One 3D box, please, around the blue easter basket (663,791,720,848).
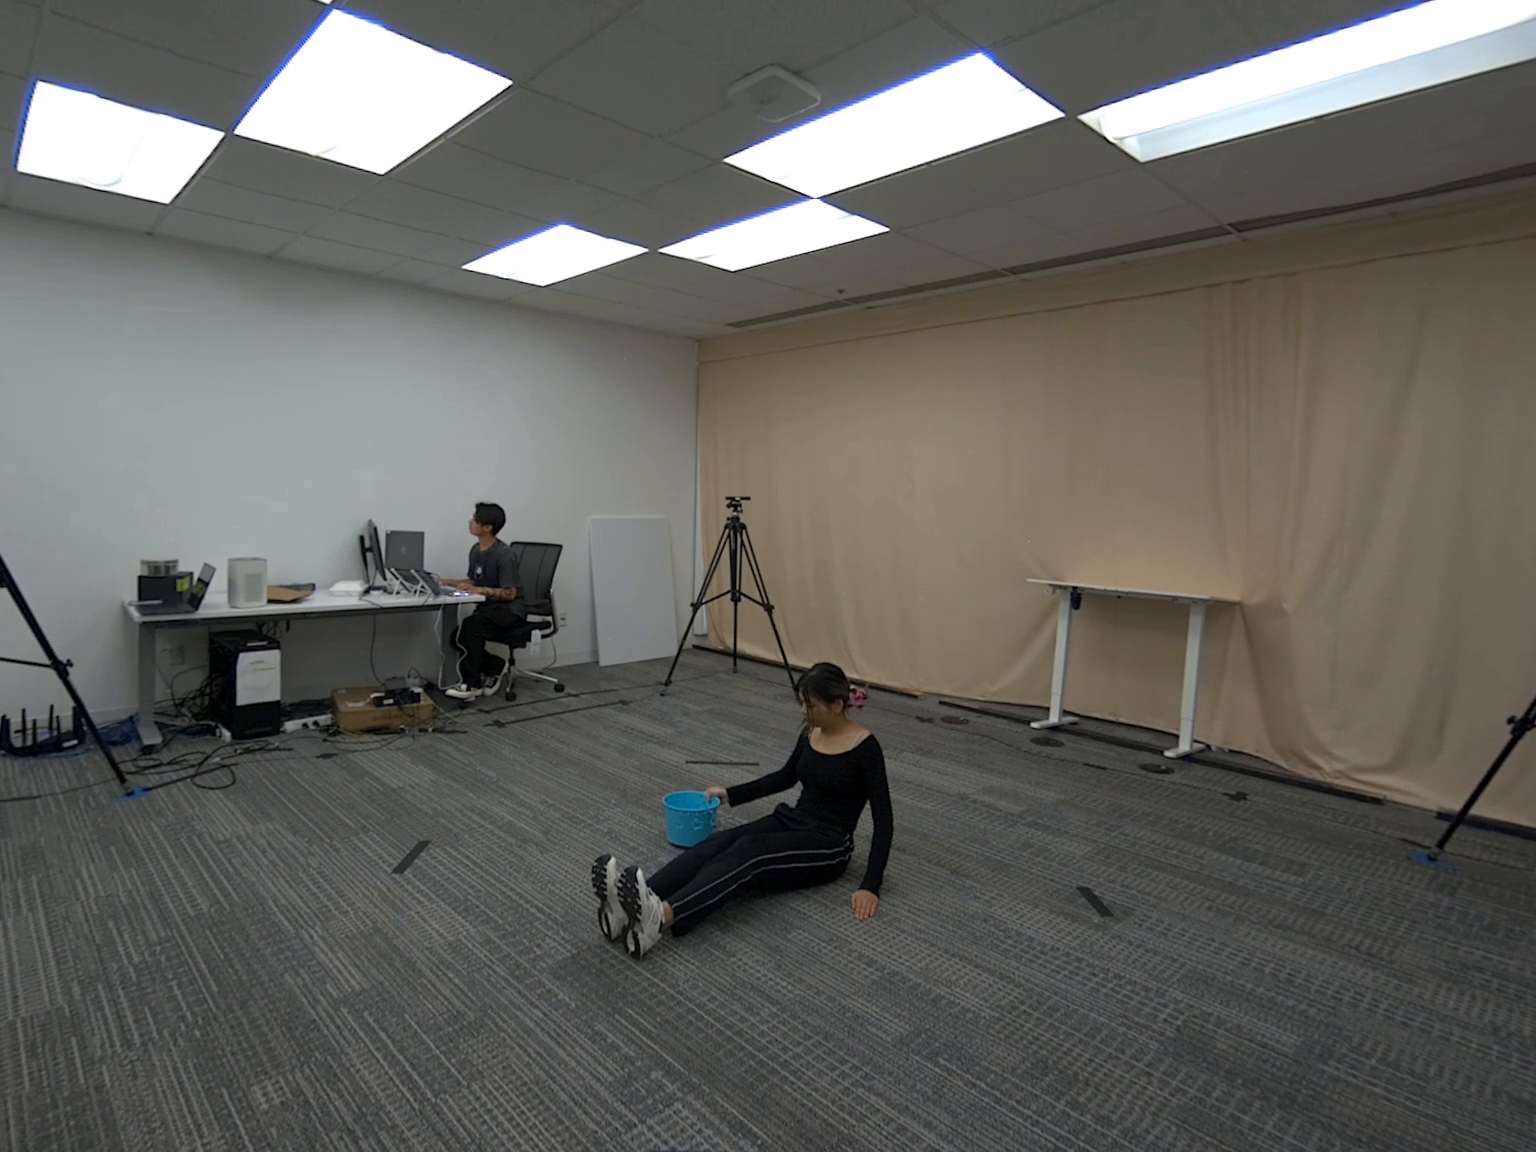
[{"bbox_3d":[-0.308,0.979,3.404,0.243,0.155,0.244,3,4,-2],"label":"blue easter basket"}]
